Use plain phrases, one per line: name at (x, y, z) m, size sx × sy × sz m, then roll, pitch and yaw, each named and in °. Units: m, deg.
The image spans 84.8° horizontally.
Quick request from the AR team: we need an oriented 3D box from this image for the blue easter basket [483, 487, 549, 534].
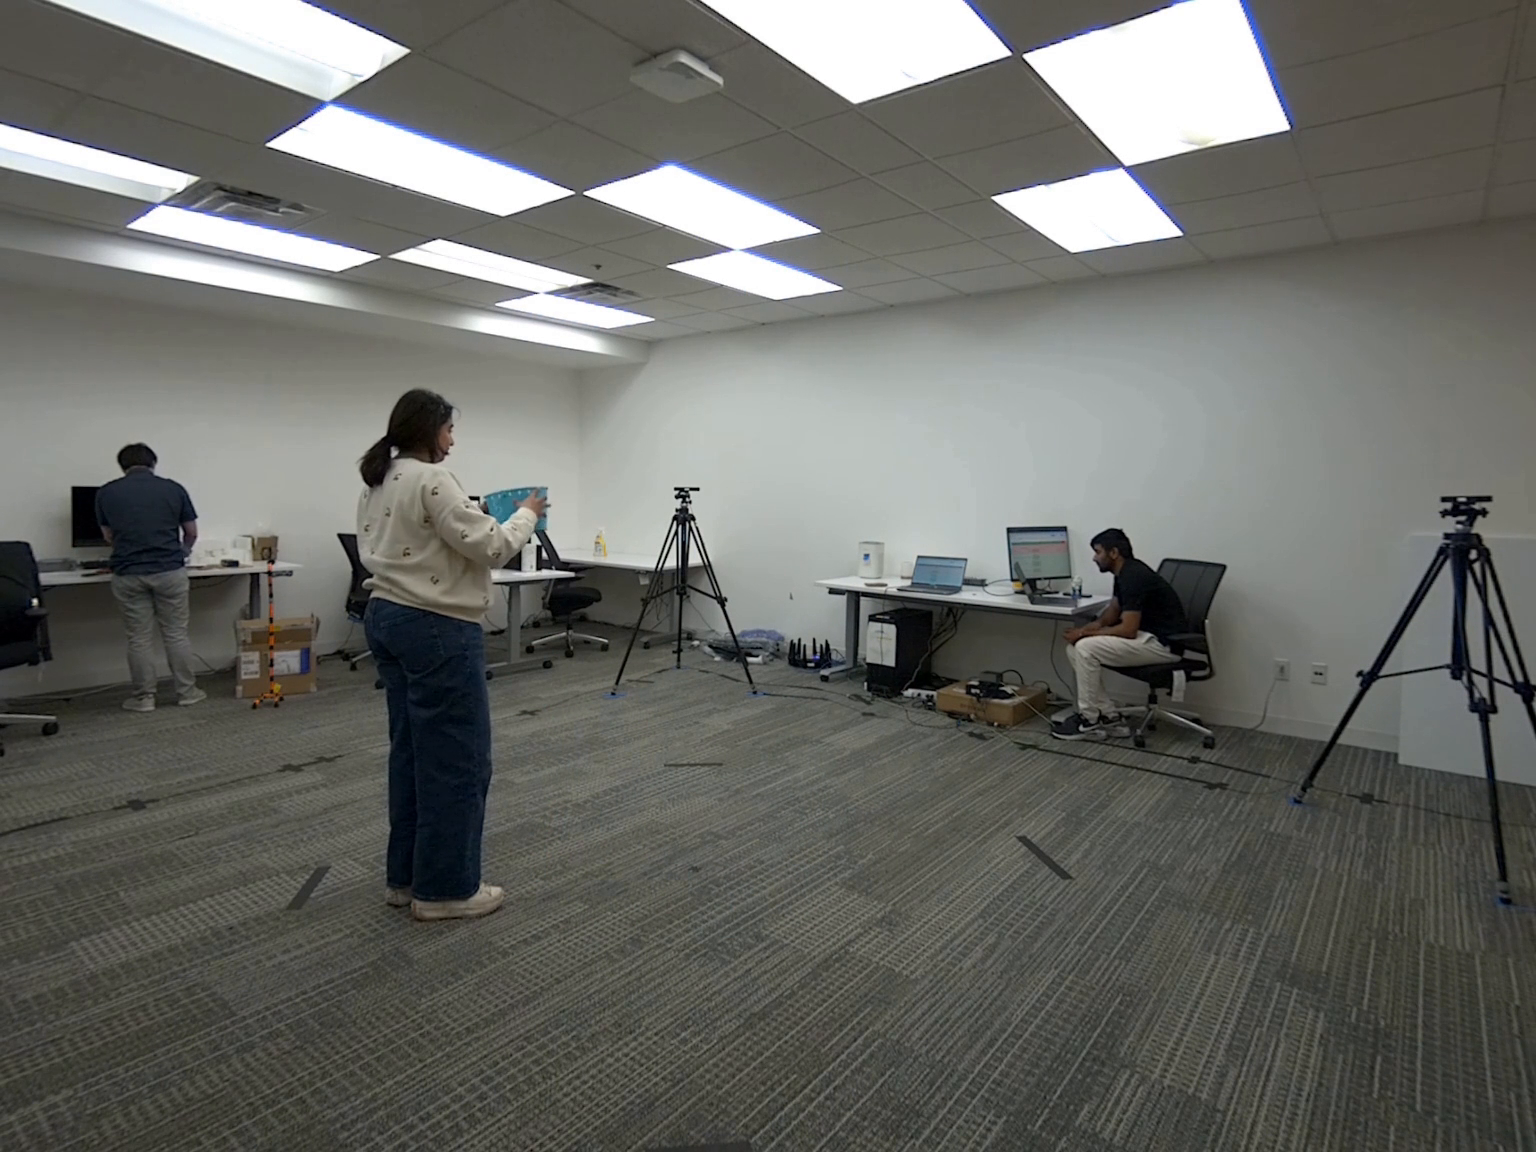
blue easter basket at (-0.939, -0.230, 3.094) m, size 0.243 × 0.156 × 0.244 m, roll -9°, pitch 1°, yaw -2°
